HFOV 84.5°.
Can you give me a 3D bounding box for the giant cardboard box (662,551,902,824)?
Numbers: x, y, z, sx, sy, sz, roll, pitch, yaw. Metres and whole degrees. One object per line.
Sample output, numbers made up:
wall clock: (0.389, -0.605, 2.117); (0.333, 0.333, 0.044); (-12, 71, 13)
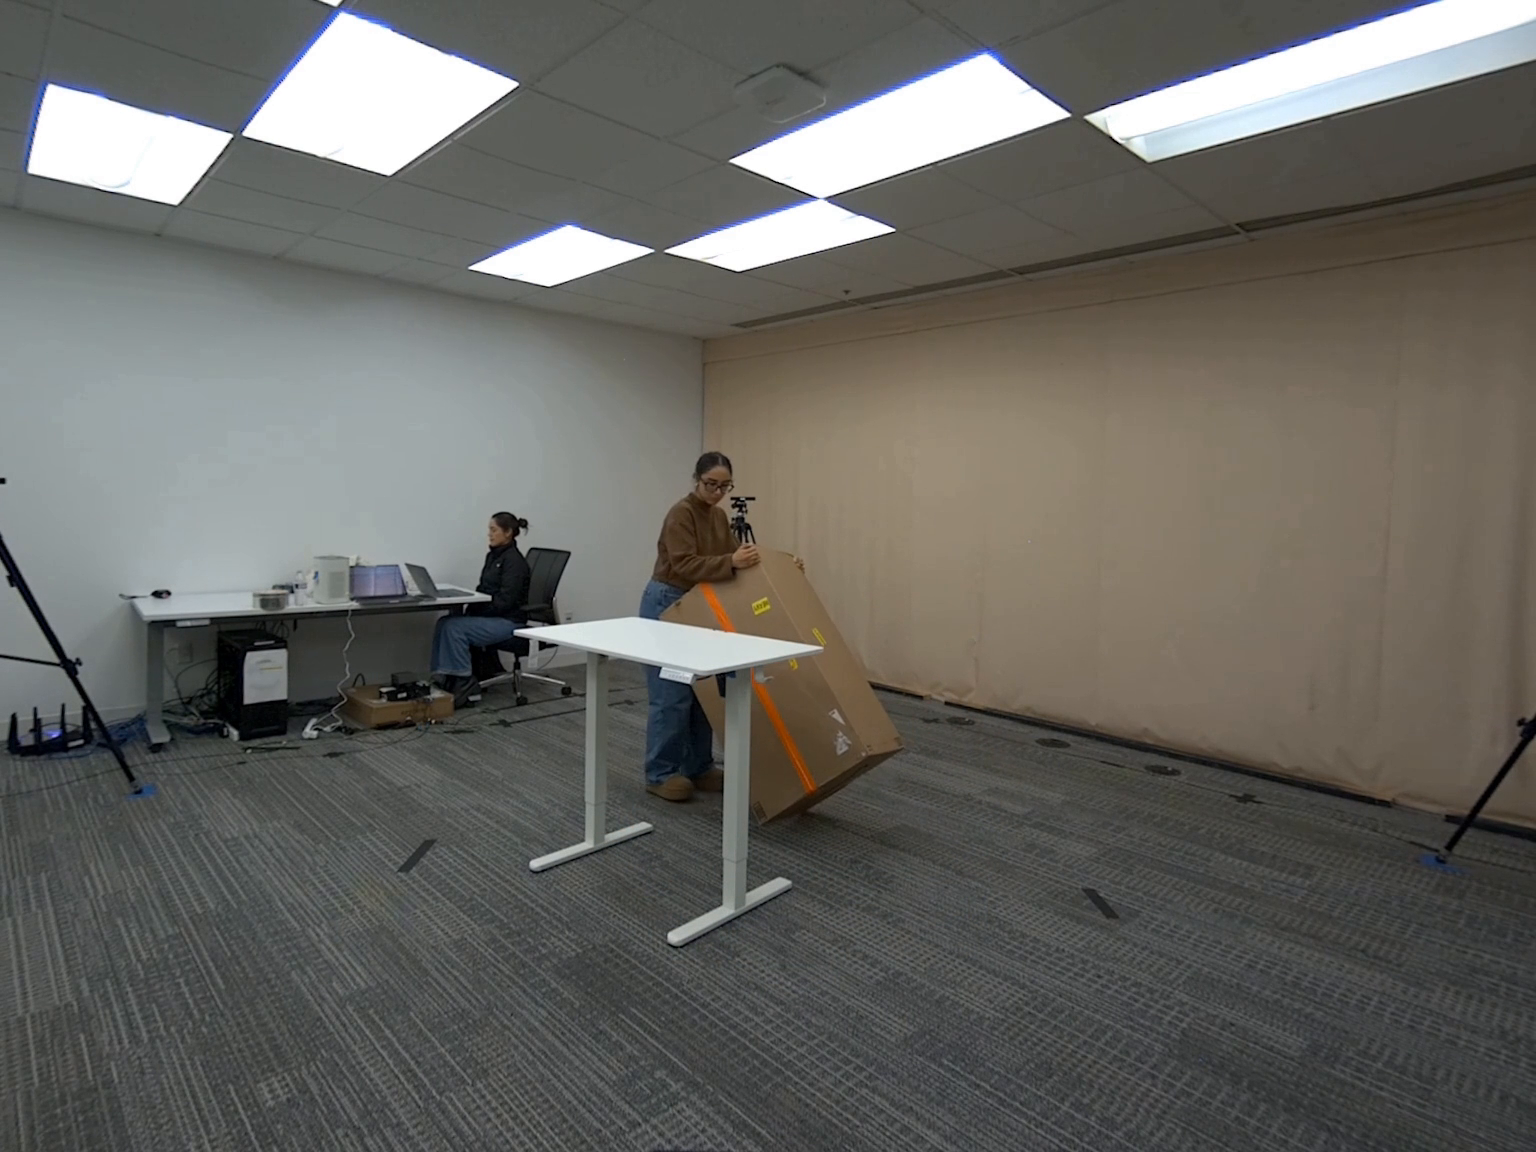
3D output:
giant cardboard box: (0.036, 0.464, 3.708); (0.579, 1.049, 0.415); (-39, -24, 21)
